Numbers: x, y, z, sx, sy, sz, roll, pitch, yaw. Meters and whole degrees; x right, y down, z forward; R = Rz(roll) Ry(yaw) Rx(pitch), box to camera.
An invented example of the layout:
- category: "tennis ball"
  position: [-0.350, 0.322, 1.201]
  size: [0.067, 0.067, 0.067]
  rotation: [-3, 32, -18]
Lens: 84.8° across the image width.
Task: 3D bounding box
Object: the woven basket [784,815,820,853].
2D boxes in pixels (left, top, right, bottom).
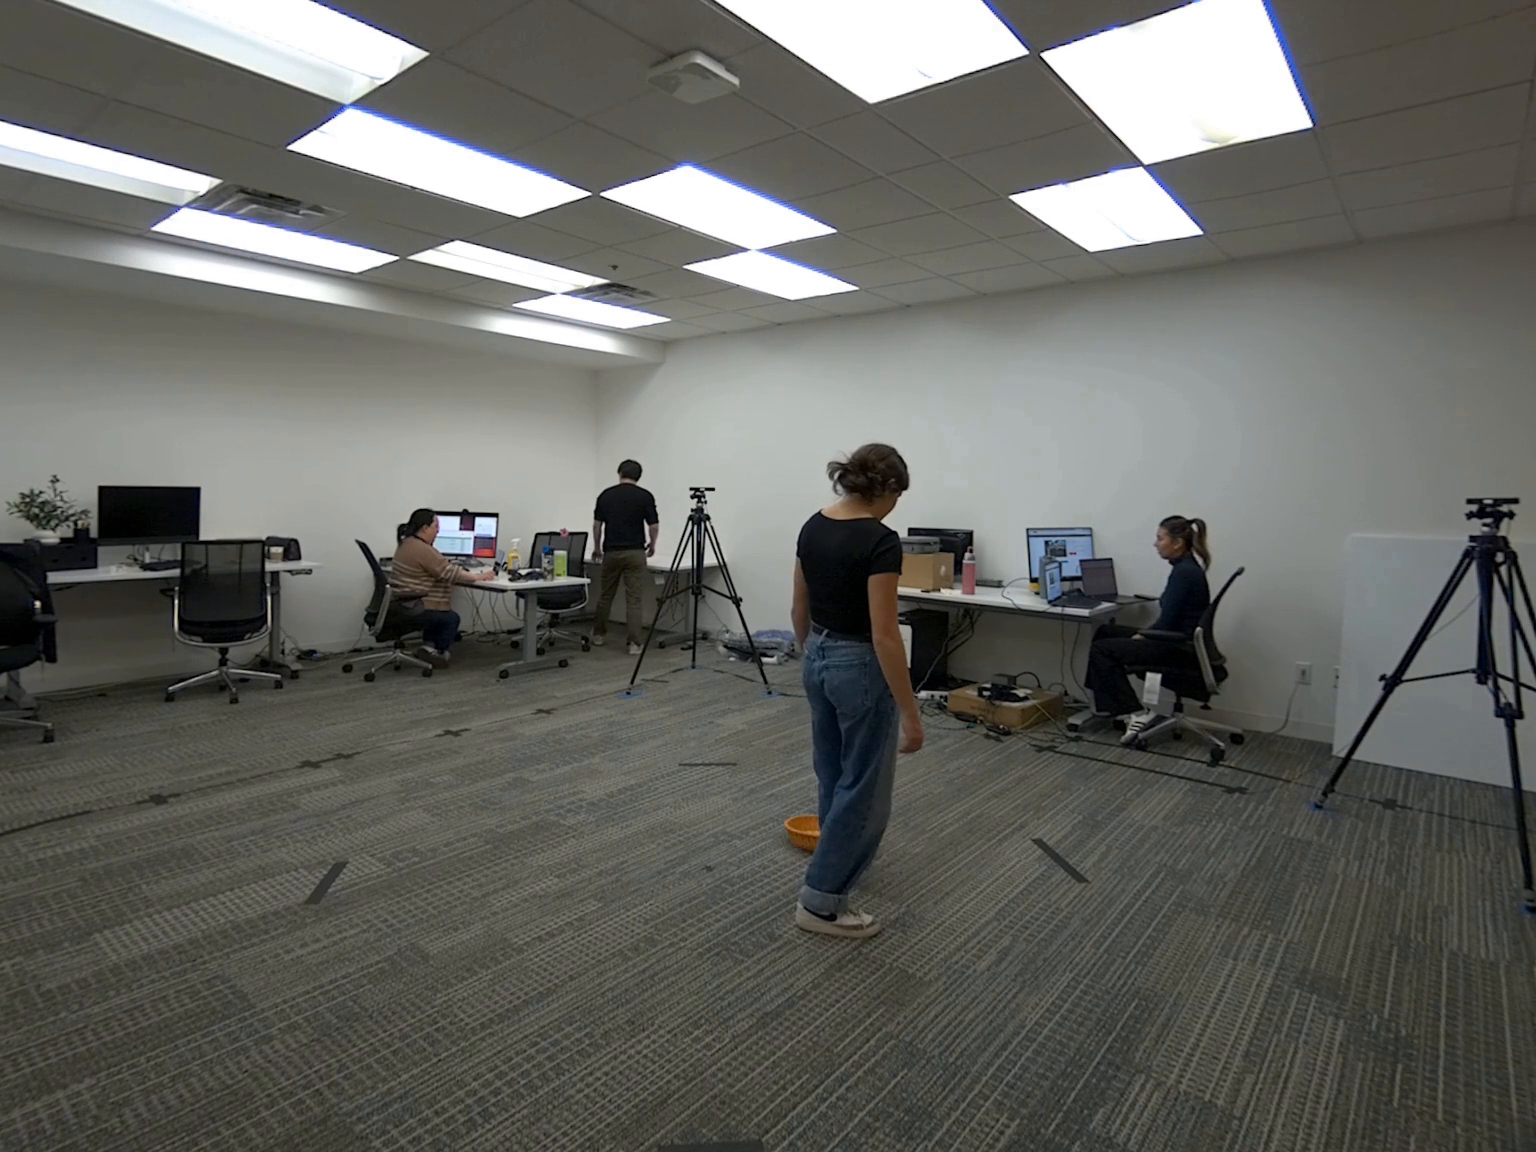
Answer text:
- category: "woven basket"
  position: [0.229, 1.007, 3.327]
  size: [0.360, 0.073, 0.246]
  rotation: [2, 2, 26]
